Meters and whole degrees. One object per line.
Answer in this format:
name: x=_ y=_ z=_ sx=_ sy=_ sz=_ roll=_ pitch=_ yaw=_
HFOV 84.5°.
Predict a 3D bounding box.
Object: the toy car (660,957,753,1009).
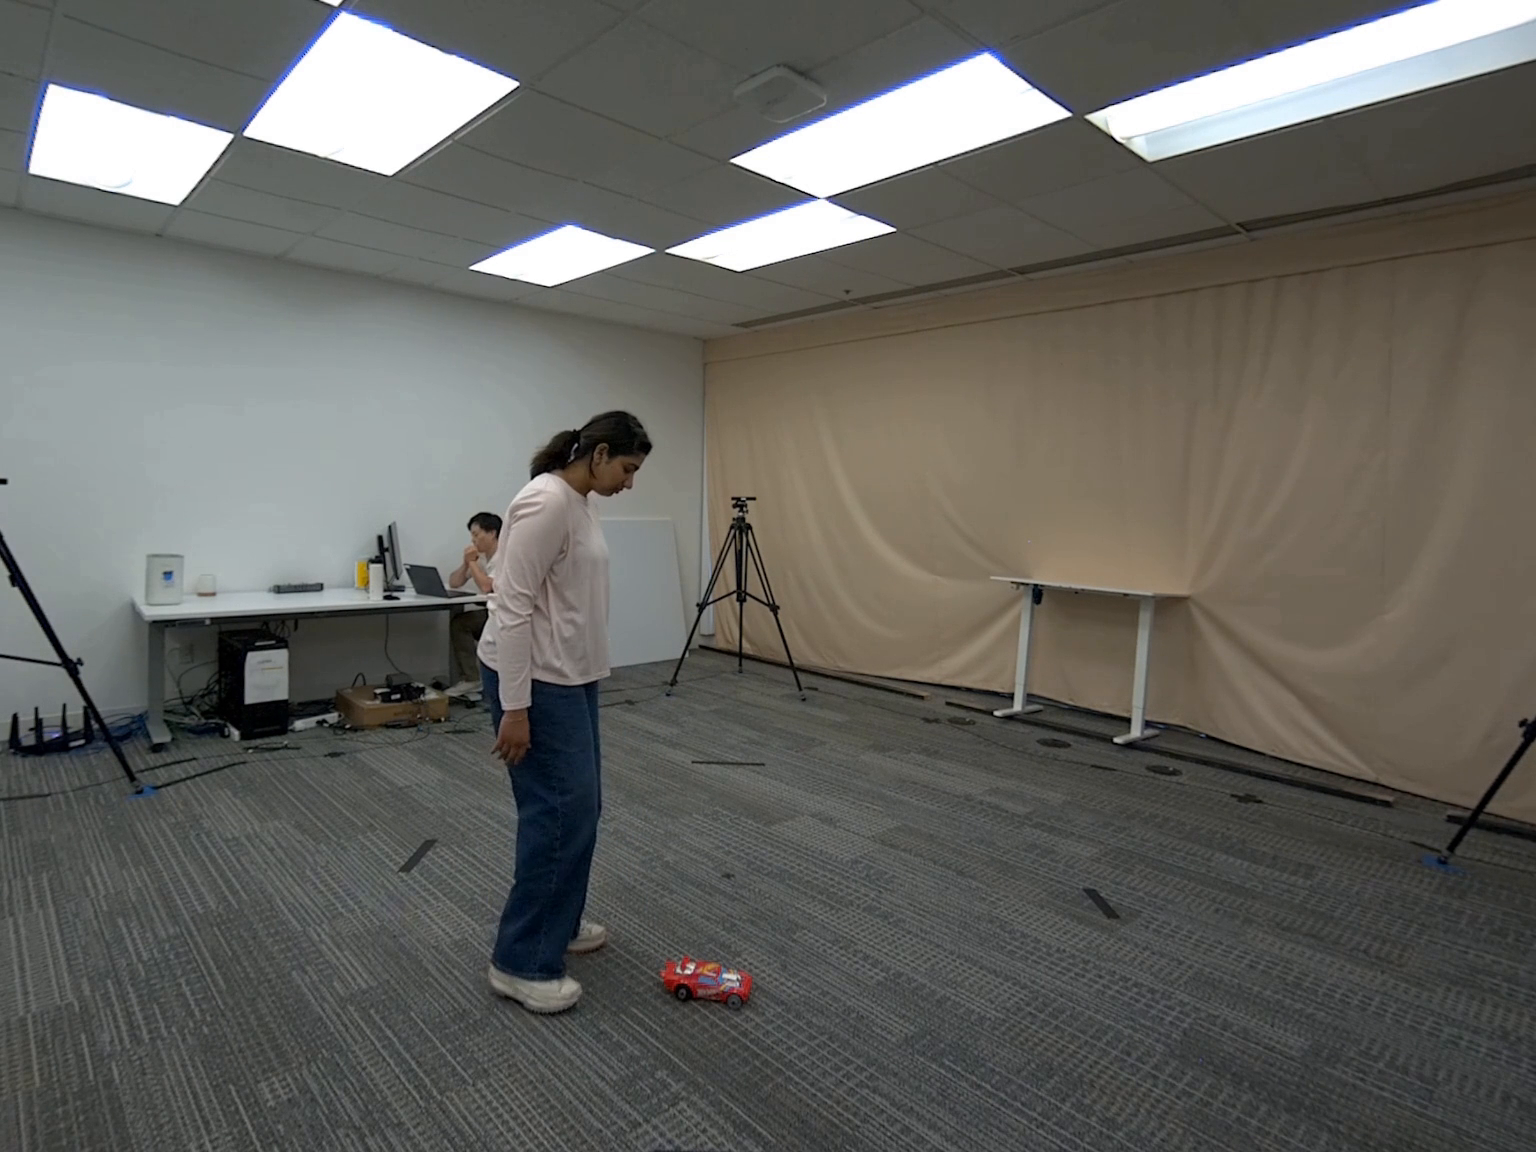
toy car: x=-0.183 y=1.146 z=2.354 sx=0.257 sy=0.083 sz=0.129 roll=14 pitch=6 yaw=10
